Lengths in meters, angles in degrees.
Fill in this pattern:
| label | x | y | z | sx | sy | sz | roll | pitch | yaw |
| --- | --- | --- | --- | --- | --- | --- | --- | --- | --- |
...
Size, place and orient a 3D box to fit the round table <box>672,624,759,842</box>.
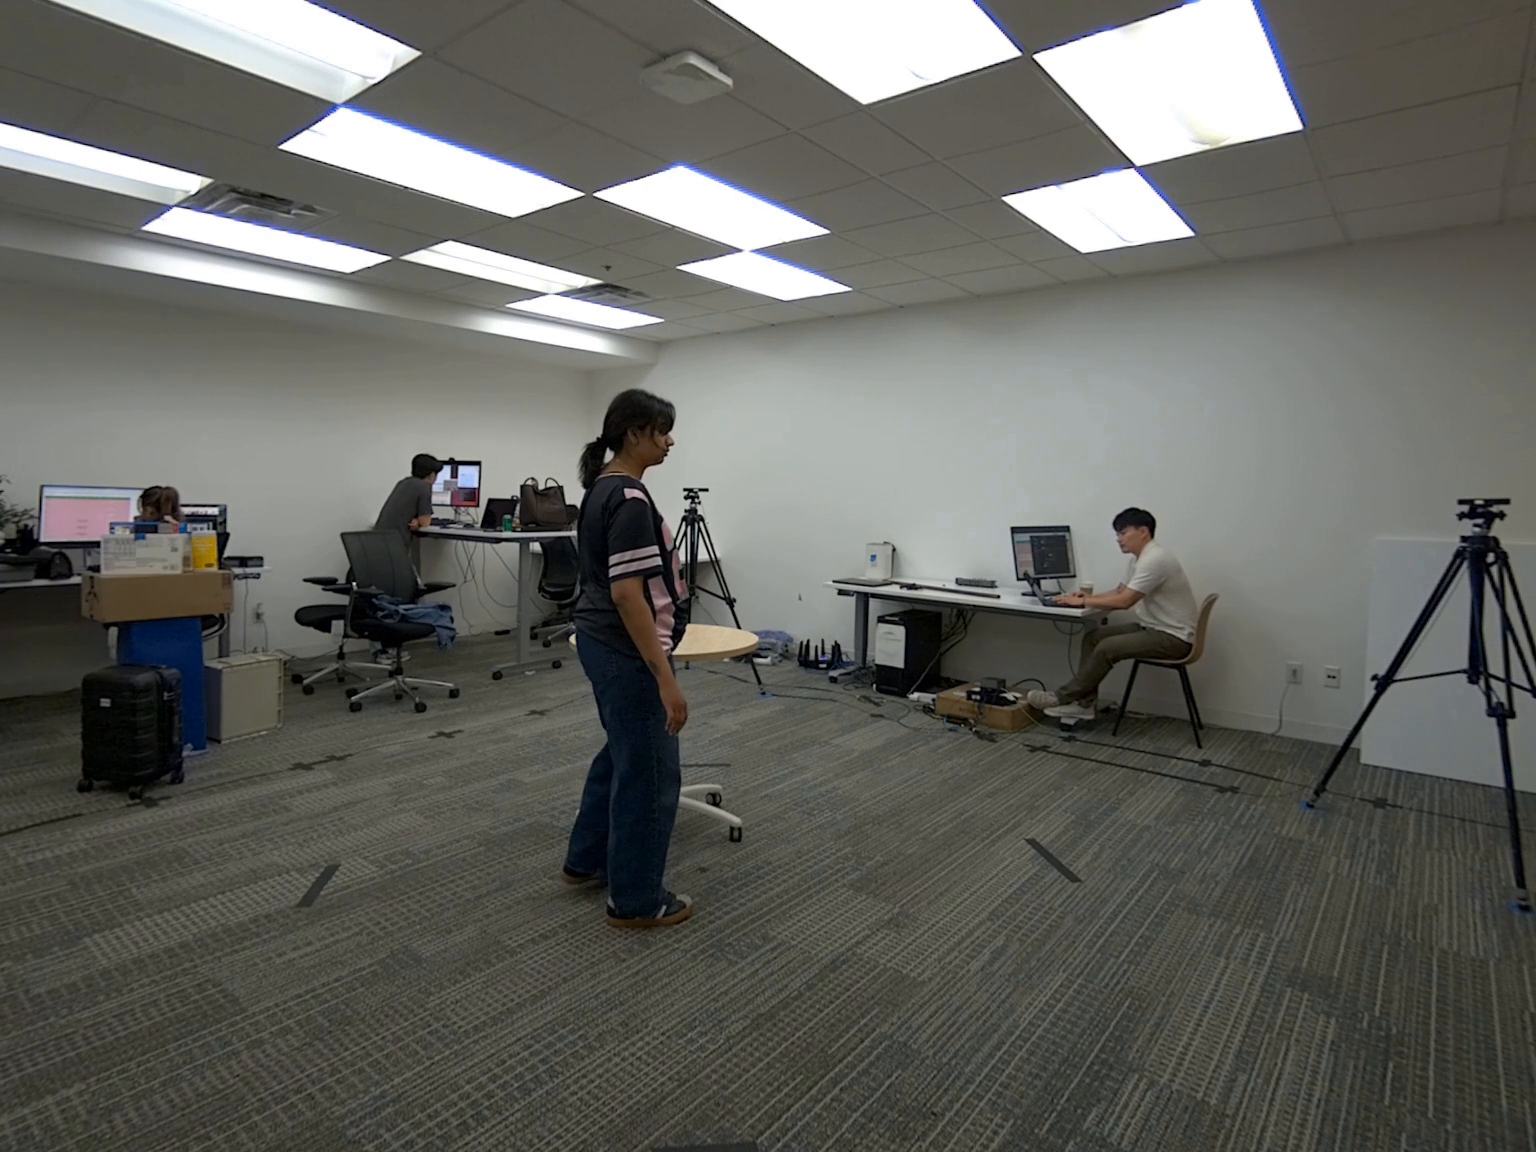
| label | x | y | z | sx | sy | sz | roll | pitch | yaw |
| --- | --- | --- | --- | --- | --- | --- | --- | --- | --- |
| round table | -0.450 | 0.636 | 3.479 | 0.784 | 0.784 | 0.789 | 1 | 4 | -2 |
